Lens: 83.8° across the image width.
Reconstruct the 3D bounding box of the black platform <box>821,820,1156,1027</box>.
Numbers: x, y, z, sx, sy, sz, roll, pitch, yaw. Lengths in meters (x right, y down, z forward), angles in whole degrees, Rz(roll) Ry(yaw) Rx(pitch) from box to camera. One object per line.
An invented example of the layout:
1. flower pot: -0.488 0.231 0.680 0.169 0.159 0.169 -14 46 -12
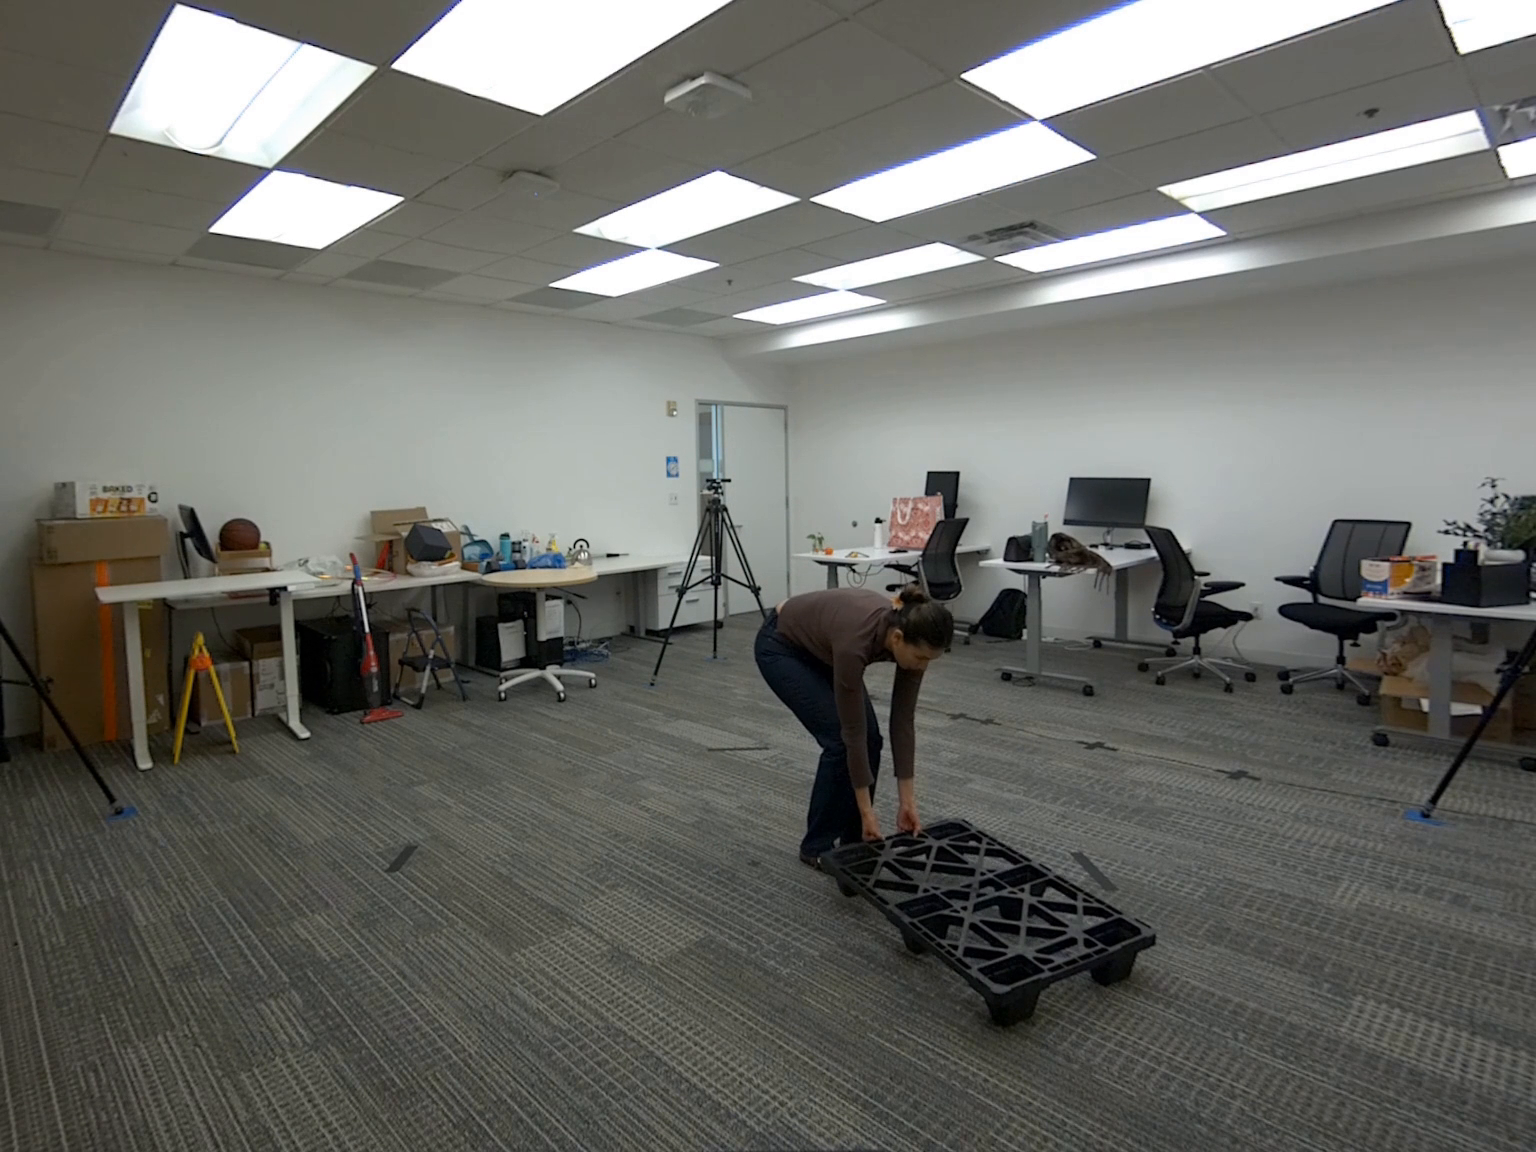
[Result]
1. black platform: 0.630 1.009 2.579 0.592 0.142 0.830 -4 11 -28
